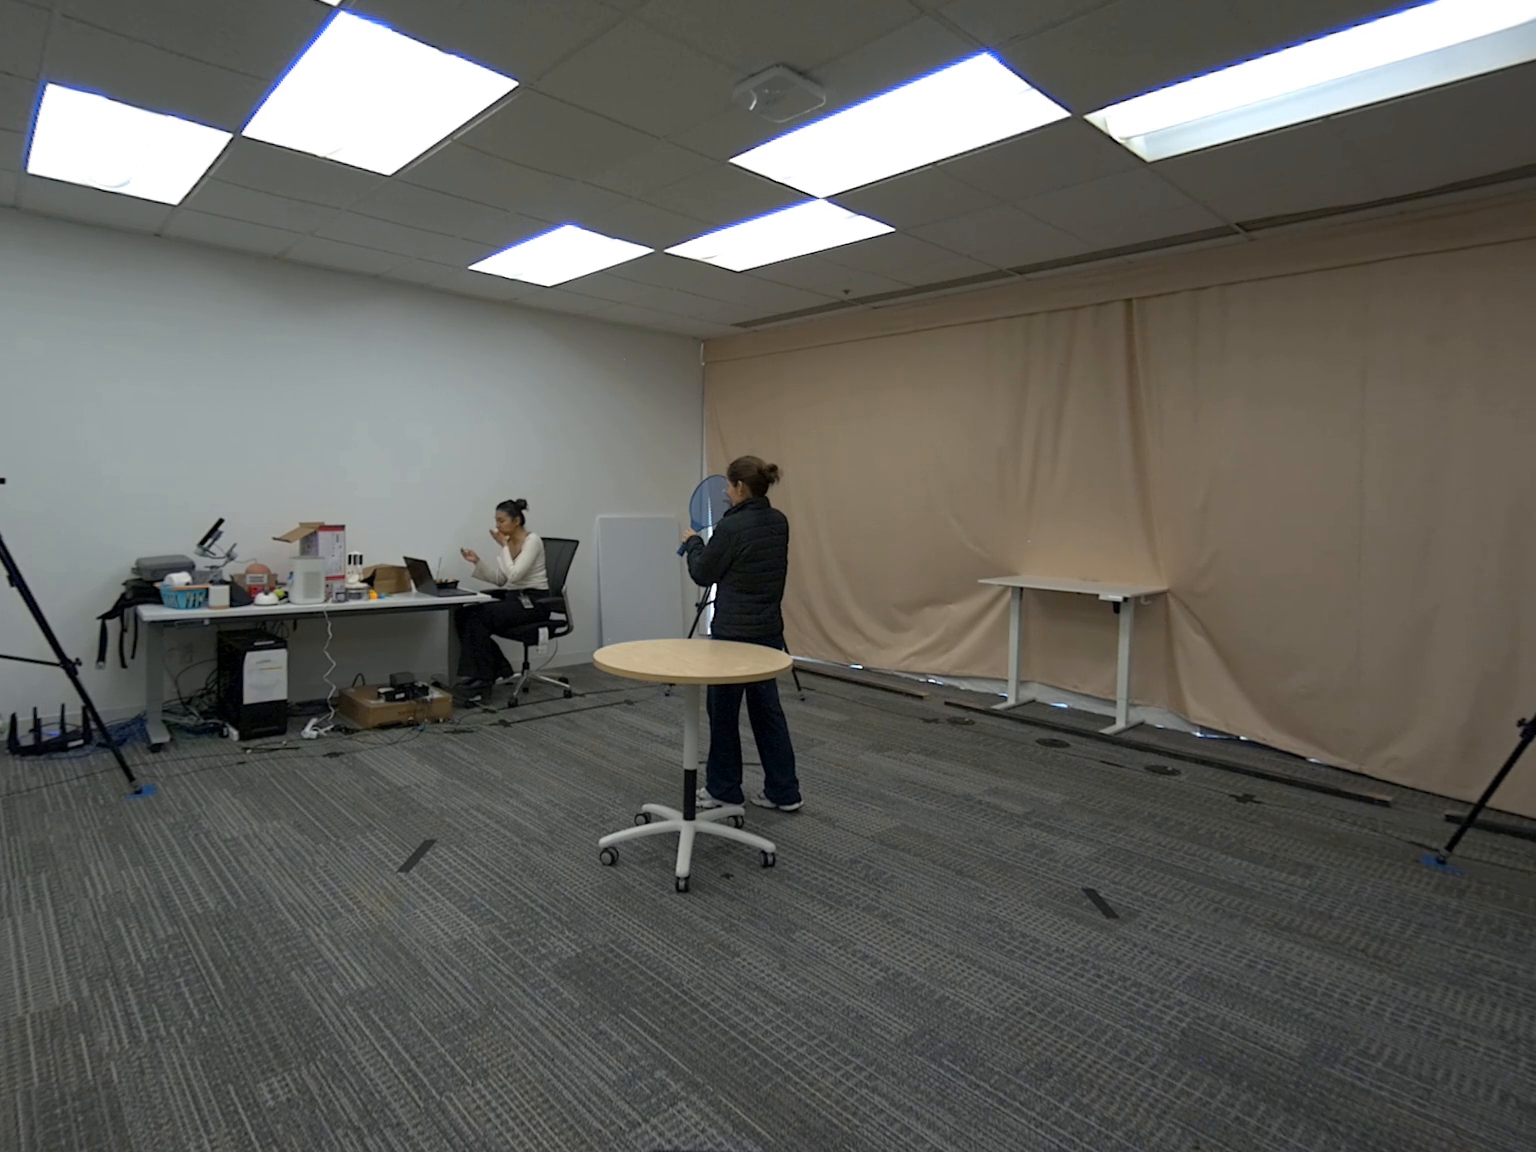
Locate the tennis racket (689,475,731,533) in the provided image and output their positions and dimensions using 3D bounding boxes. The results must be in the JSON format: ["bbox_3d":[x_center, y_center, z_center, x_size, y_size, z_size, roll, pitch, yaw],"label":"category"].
[{"bbox_3d":[-0.313,-0.290,3.987,0.219,0.432,0.031,36,8,23],"label":"tennis racket"}]
